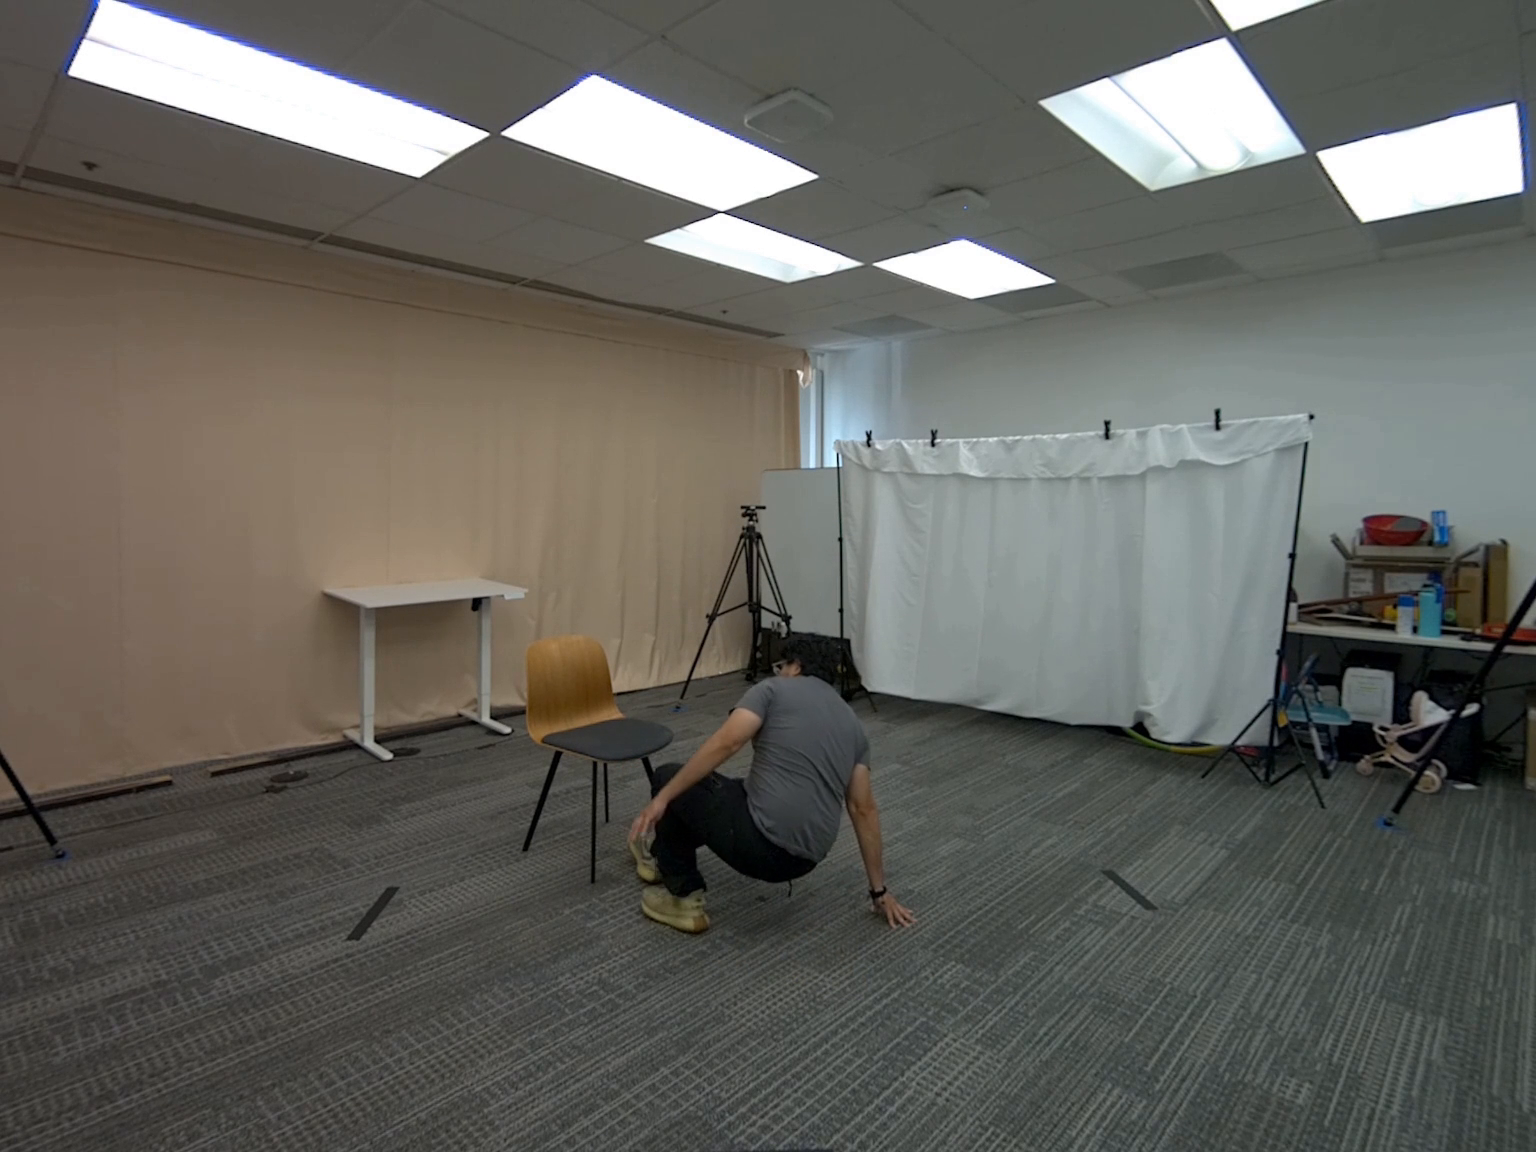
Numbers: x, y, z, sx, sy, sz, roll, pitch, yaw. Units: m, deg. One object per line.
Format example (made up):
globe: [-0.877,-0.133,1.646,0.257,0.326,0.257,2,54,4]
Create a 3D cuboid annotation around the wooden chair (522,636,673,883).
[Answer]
wooden chair: [-0.678,0.687,3.394,0.539,0.877,0.463,-3,0,42]
